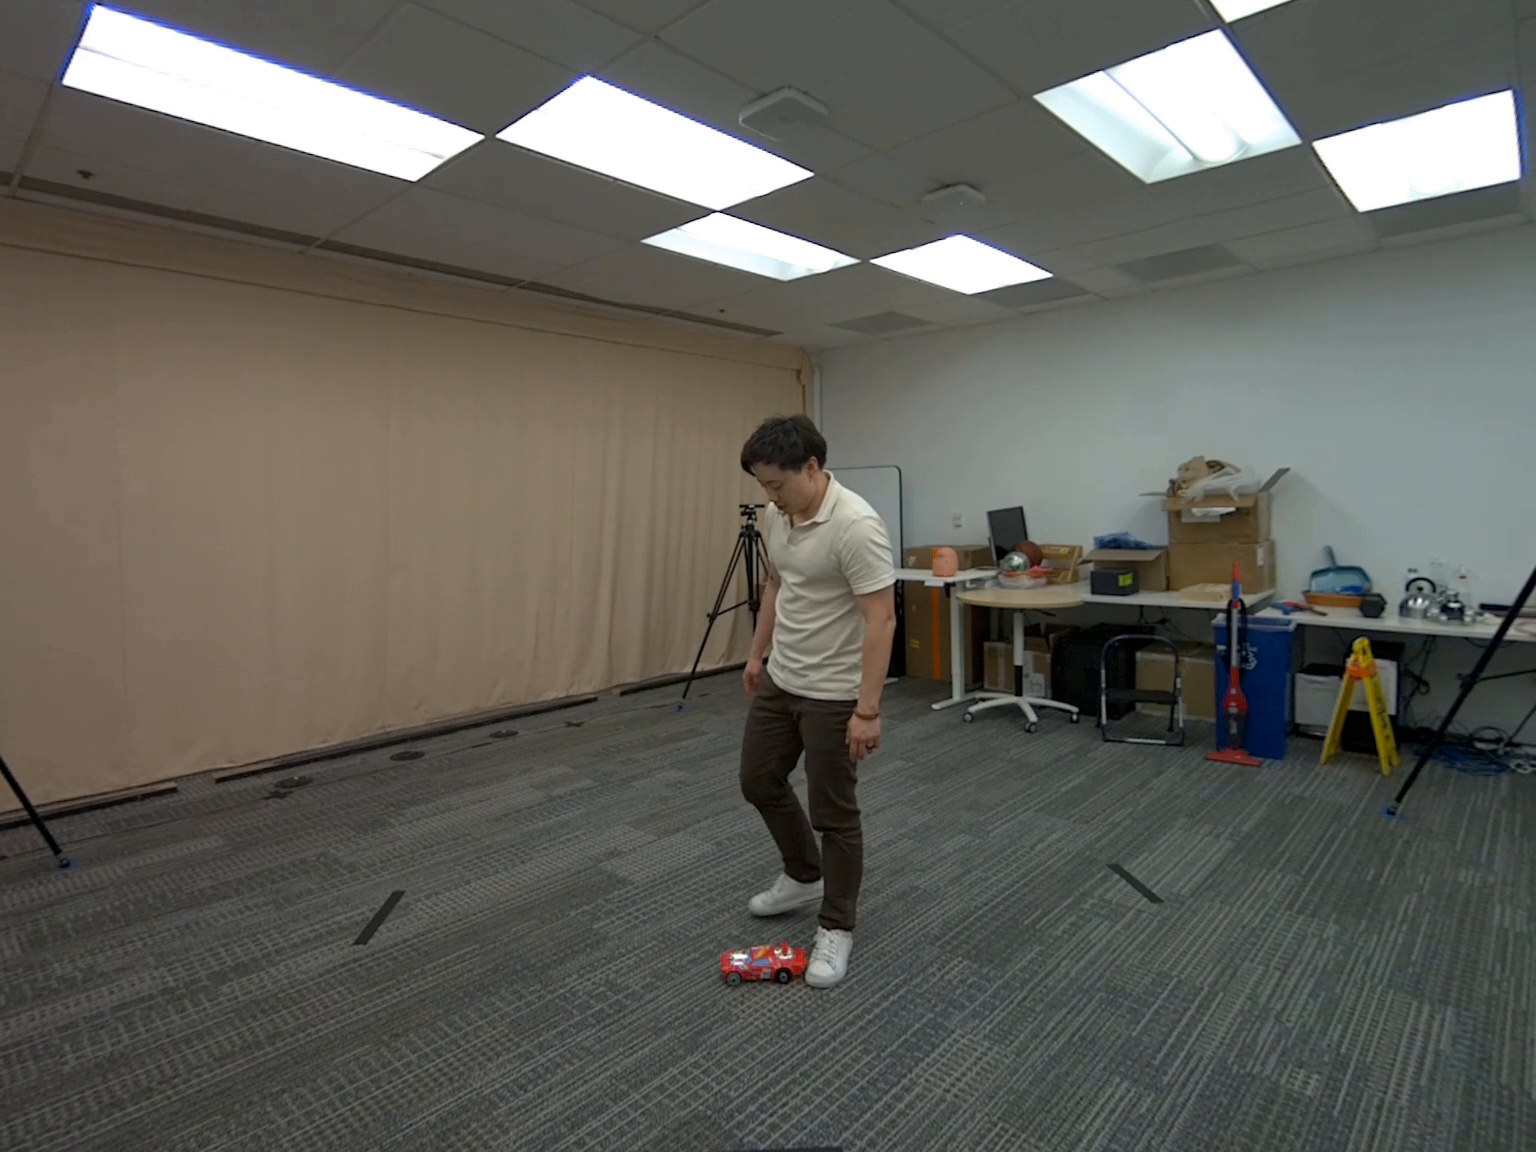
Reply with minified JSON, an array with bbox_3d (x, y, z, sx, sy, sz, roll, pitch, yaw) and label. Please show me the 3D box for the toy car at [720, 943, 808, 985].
[{"bbox_3d":[-0.005,1.151,2.492,0.255,0.083,0.130,-11,4,1],"label":"toy car"}]
